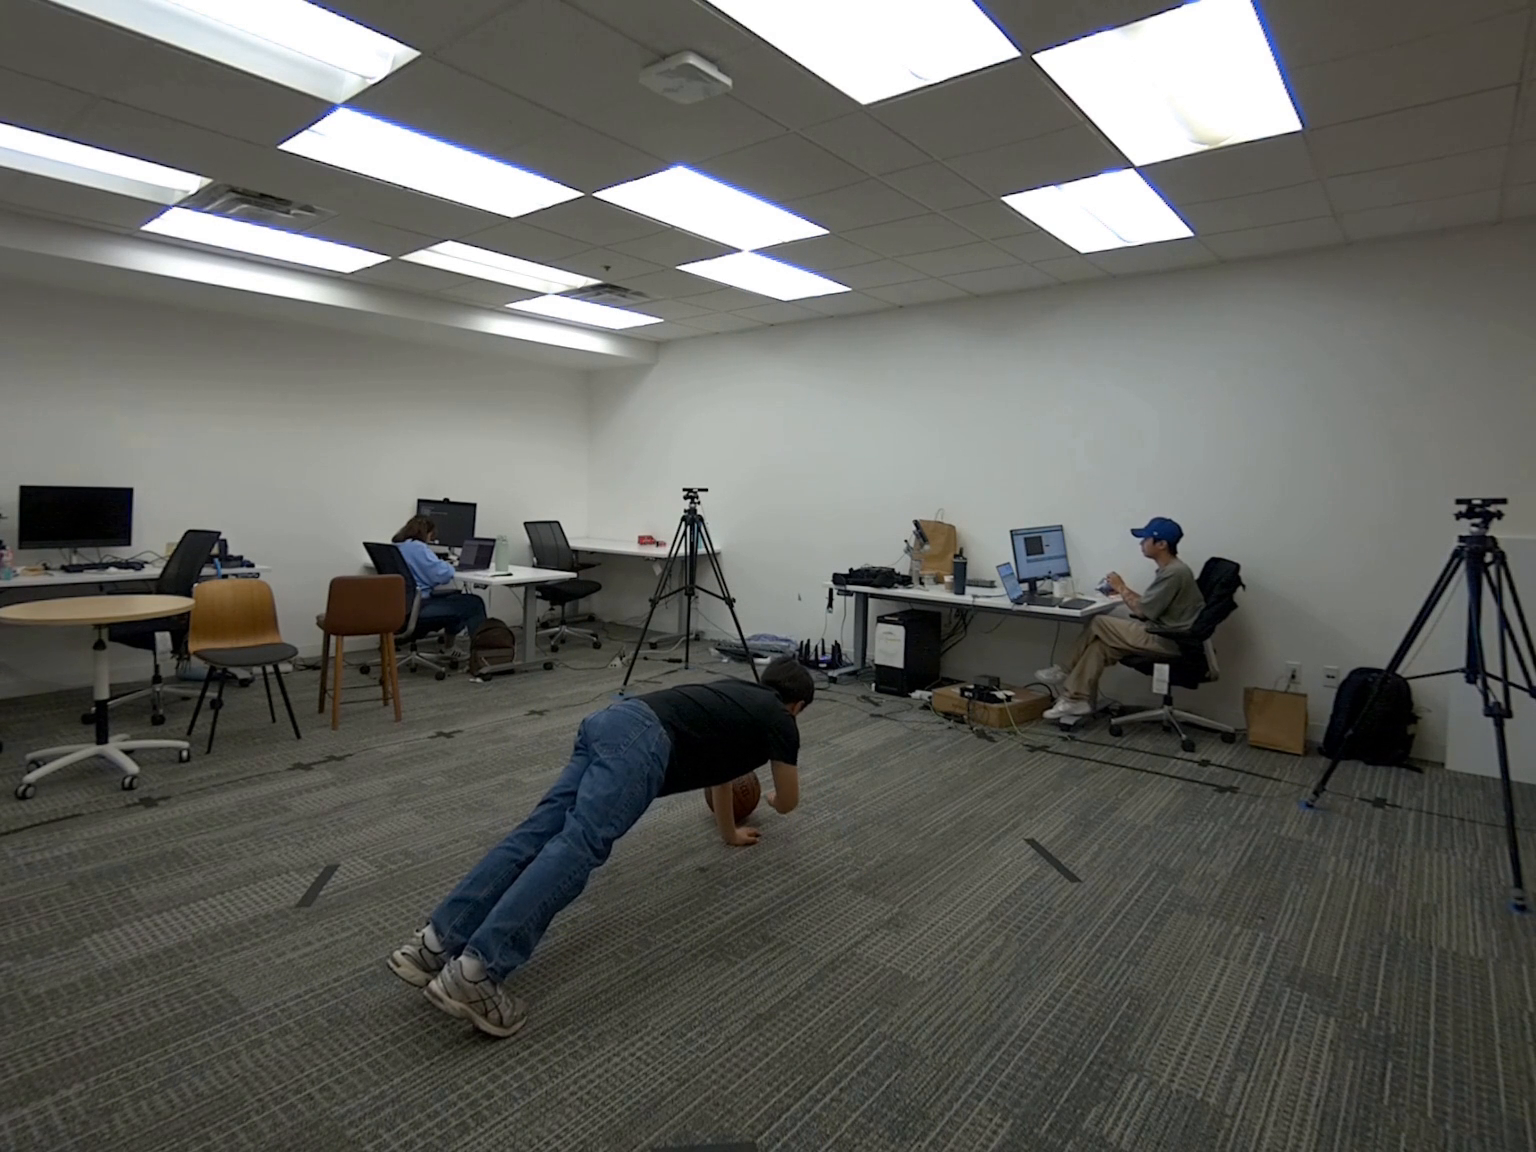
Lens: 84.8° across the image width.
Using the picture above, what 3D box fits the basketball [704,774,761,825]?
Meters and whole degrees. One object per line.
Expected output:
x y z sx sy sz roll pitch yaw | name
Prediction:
-0.156 0.900 3.601 0.235 0.235 0.237 1 4 -2 | basketball
